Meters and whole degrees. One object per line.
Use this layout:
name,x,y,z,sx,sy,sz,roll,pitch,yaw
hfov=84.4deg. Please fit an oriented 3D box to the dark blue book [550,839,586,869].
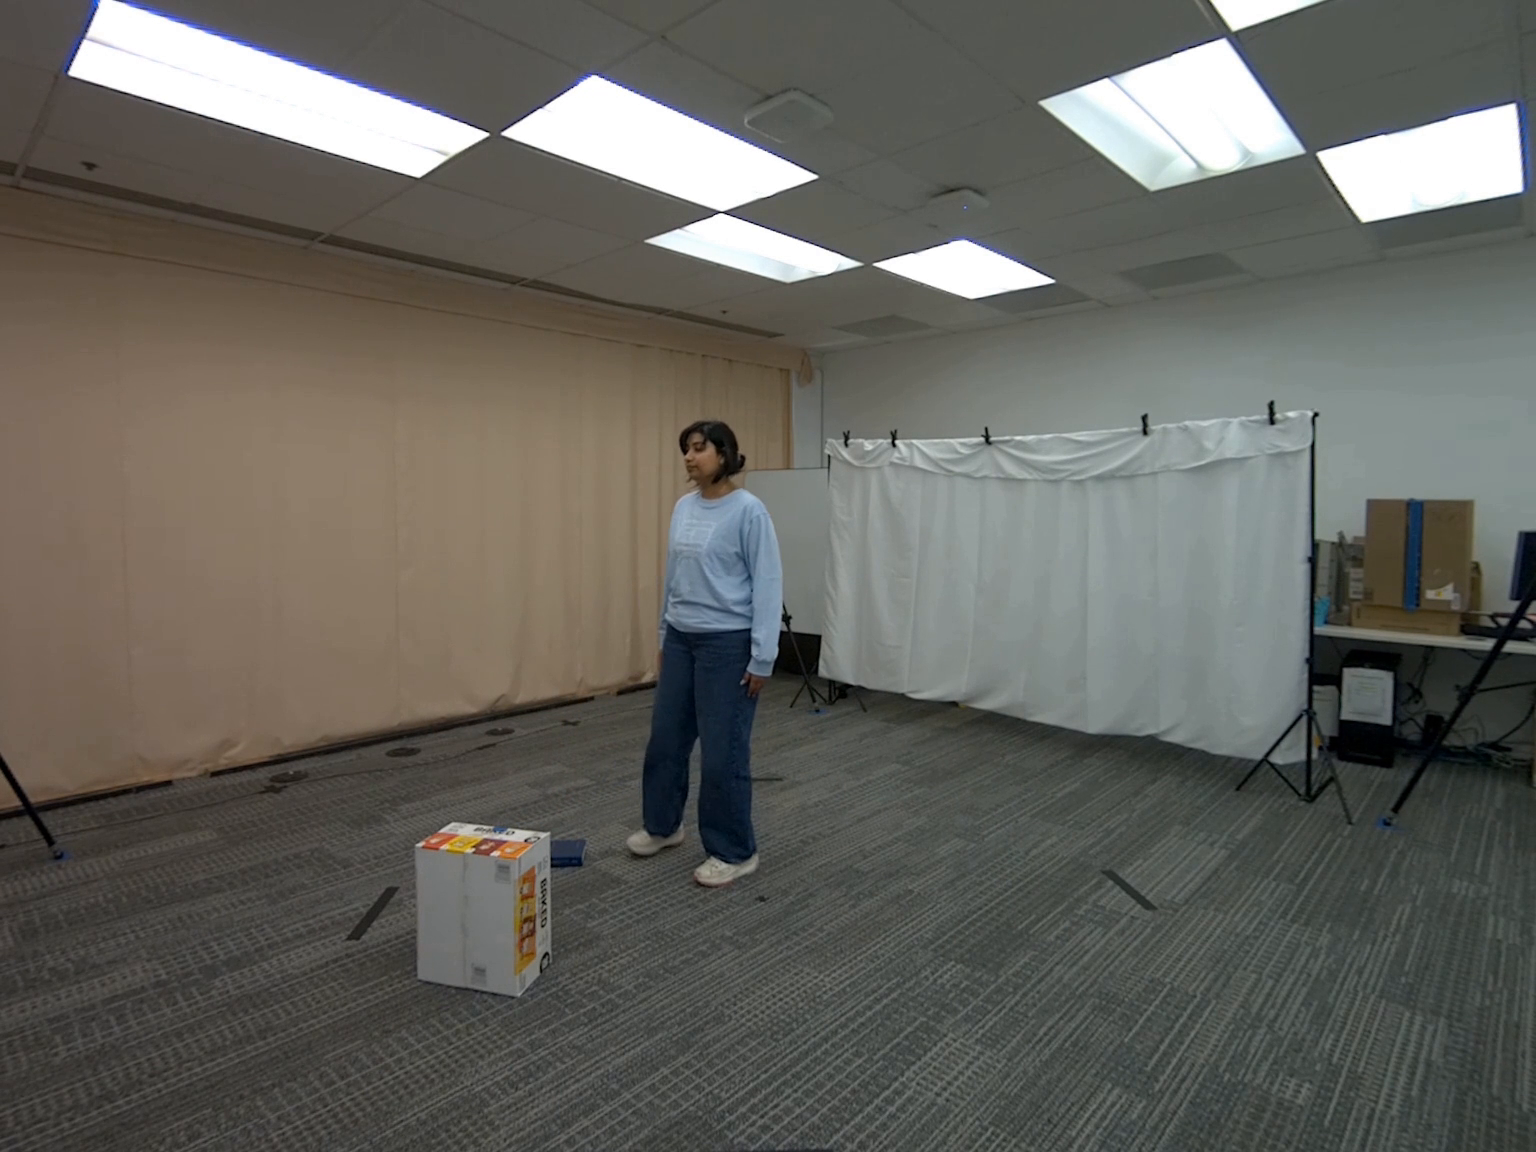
dark blue book,-0.852,1.104,3.341,0.244,0.045,0.164,-1,4,-4
